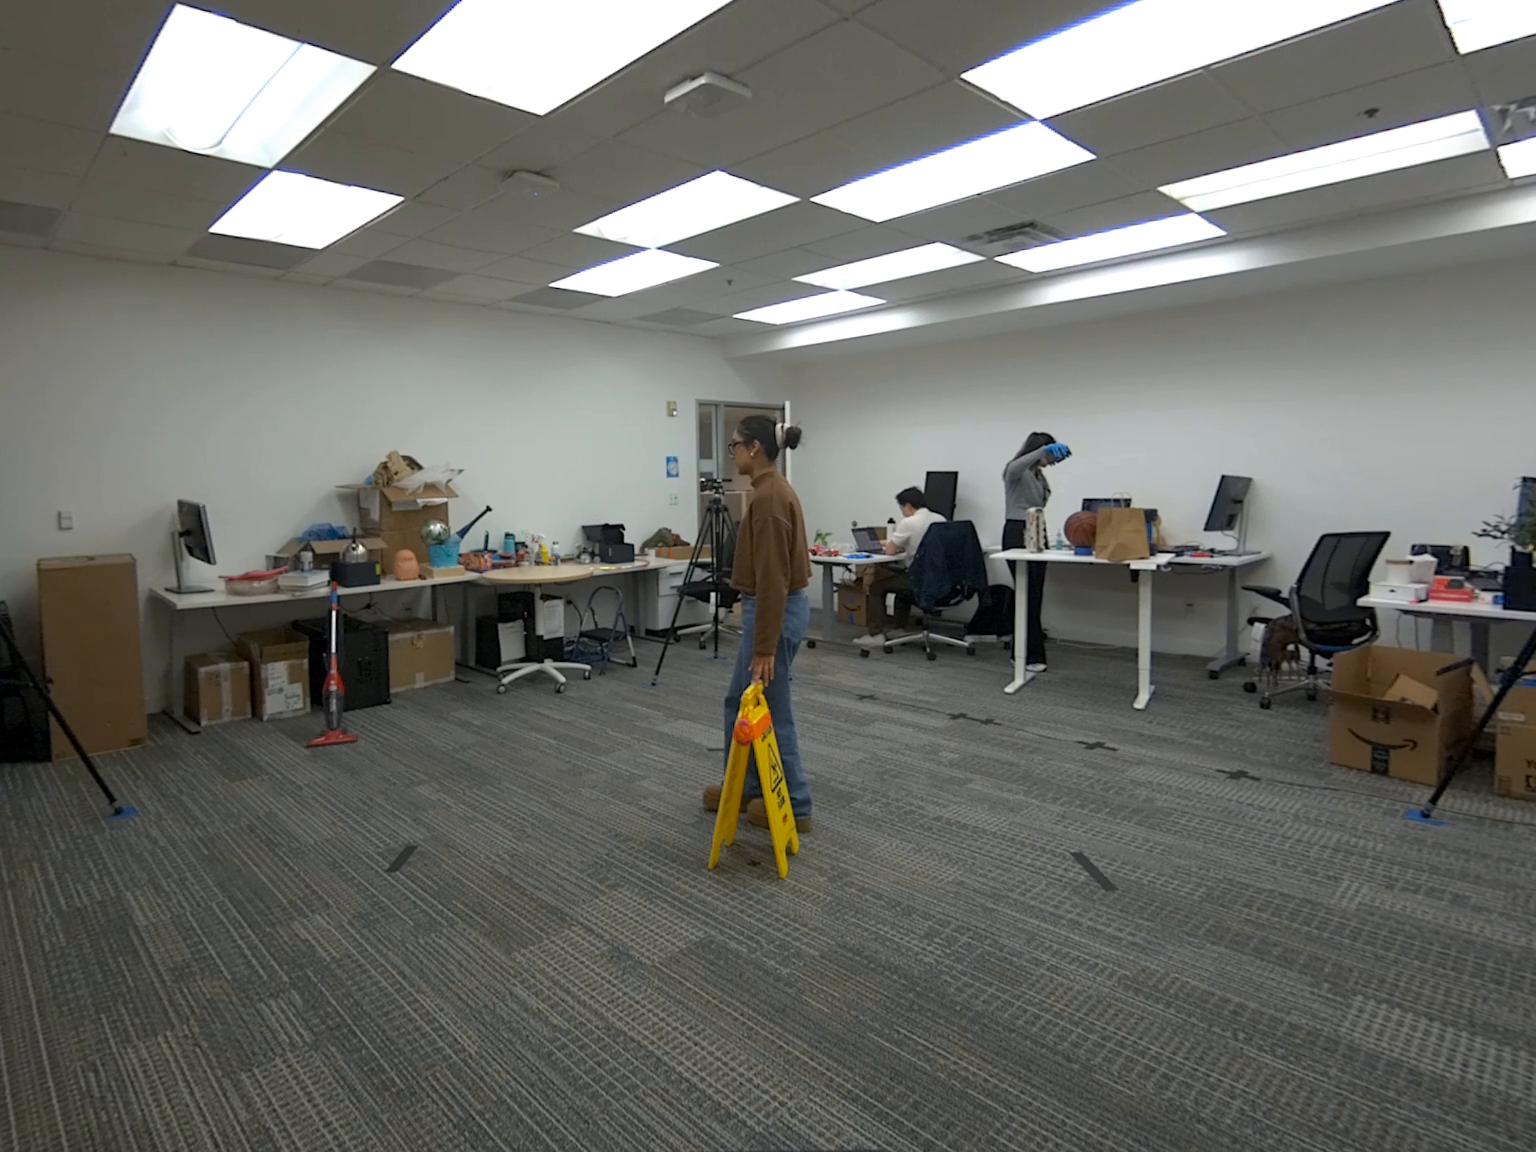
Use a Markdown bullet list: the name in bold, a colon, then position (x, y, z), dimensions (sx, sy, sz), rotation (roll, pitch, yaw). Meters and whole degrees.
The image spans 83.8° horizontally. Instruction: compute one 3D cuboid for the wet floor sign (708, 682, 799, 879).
- **wet floor sign**: position (-0.058, 0.722, 3.125), dimensions (0.294, 0.644, 0.279), rotation (0, 3, 15)
